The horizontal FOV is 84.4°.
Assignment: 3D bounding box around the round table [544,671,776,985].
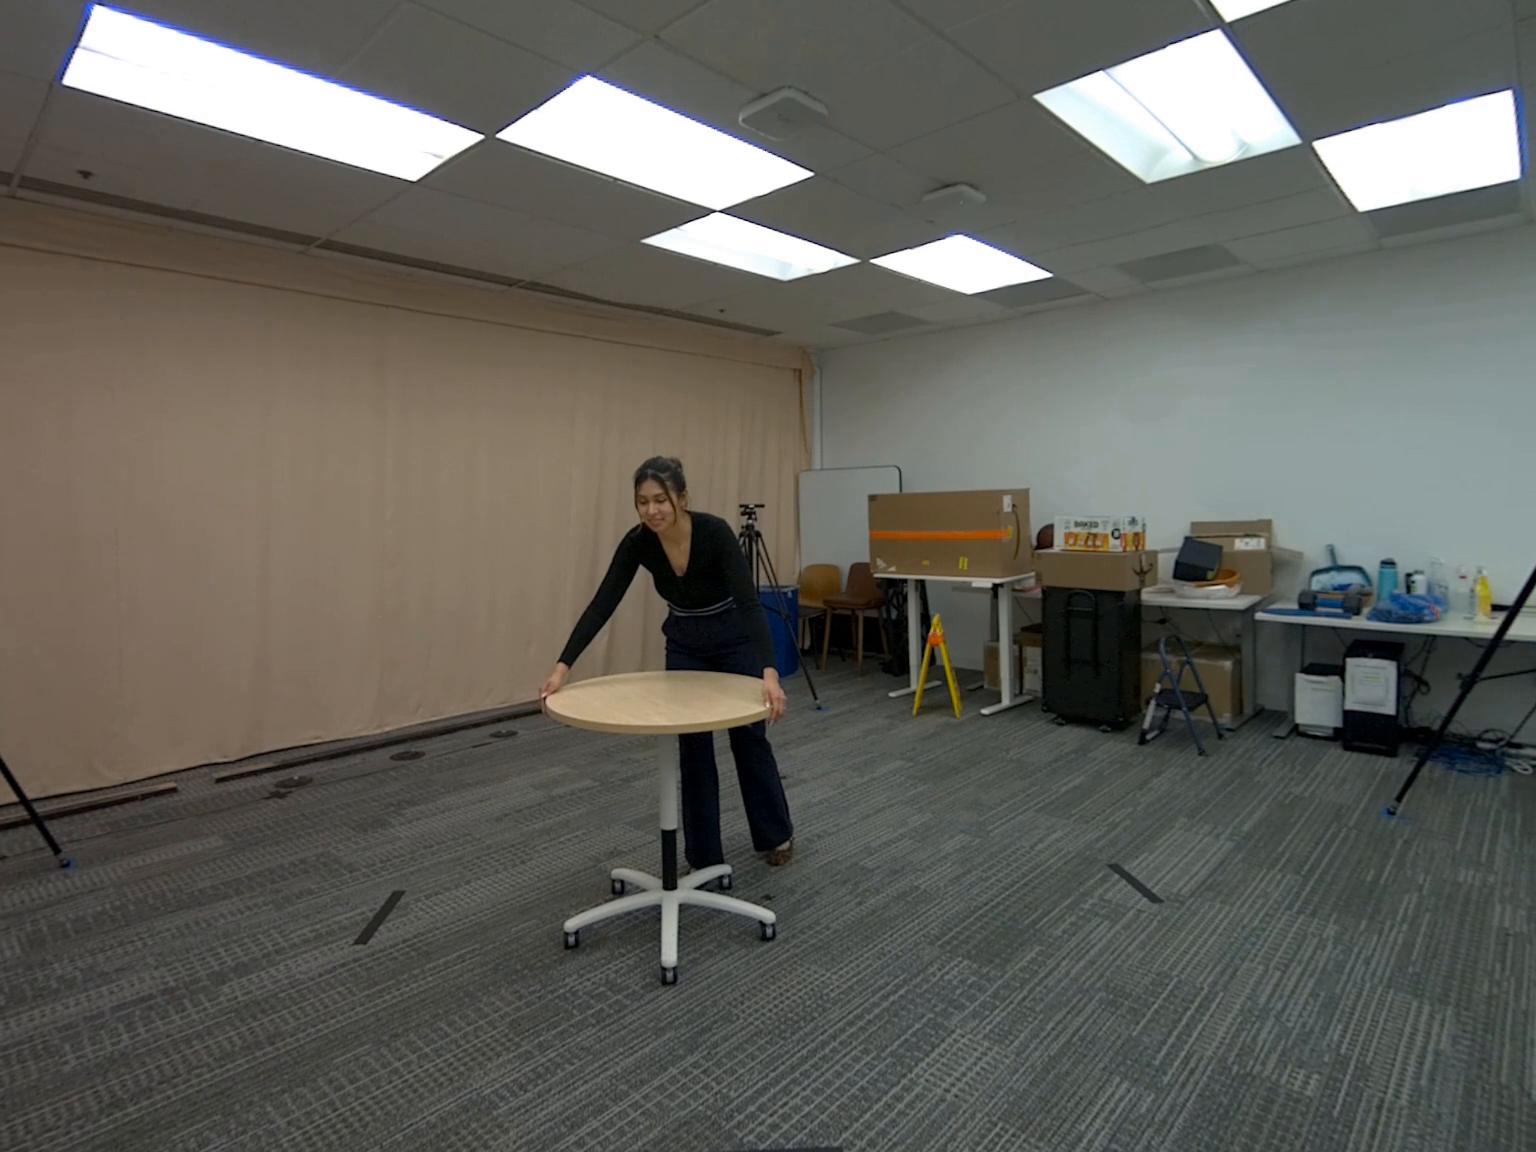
[{"bbox_3d":[-0.327,0.775,2.748,0.763,0.792,0.766,-1,4,-2],"label":"round table"}]
